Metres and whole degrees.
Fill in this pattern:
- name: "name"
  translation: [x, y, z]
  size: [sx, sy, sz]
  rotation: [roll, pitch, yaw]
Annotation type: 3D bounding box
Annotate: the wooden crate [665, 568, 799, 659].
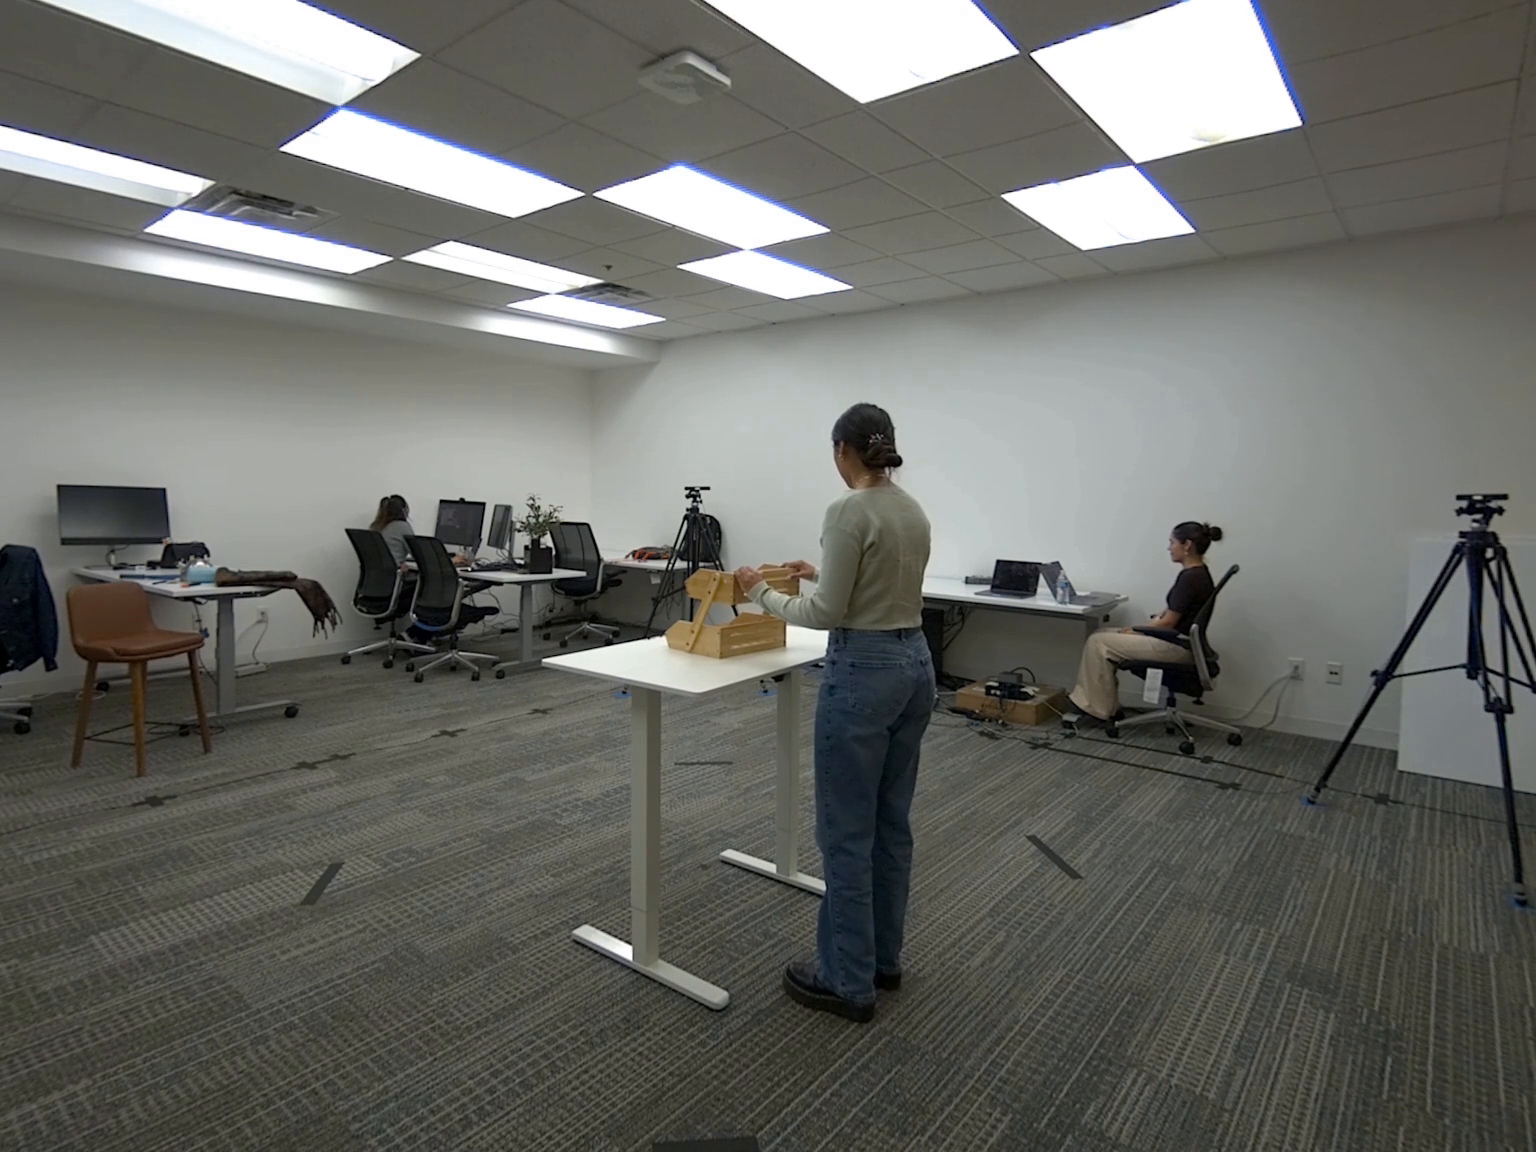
- name: "wooden crate"
  translation: [-0.123, 0.095, 2.687]
  size: [0.312, 0.272, 0.315]
  rotation: [6, 7, 44]
